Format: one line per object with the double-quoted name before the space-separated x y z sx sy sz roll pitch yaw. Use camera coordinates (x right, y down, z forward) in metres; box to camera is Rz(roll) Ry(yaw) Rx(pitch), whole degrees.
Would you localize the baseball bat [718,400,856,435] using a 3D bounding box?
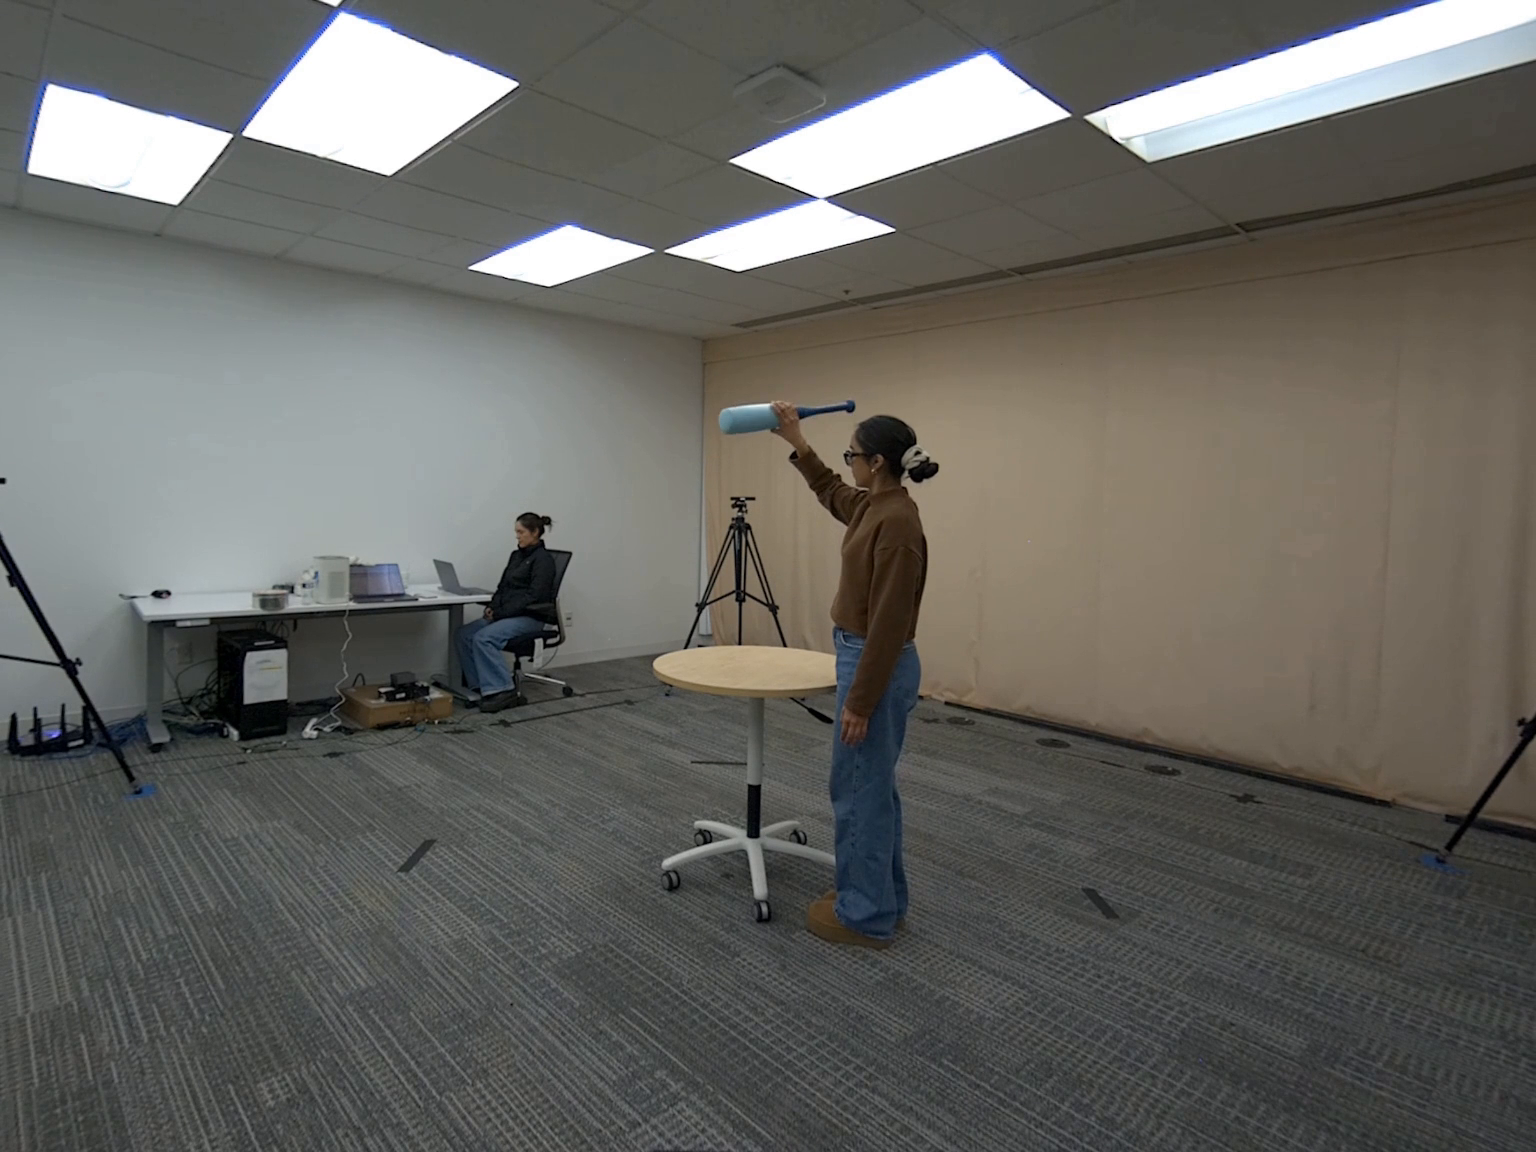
"baseball bat" 0.073 -0.557 2.888 0.535 0.088 0.091 -13 11 -29
